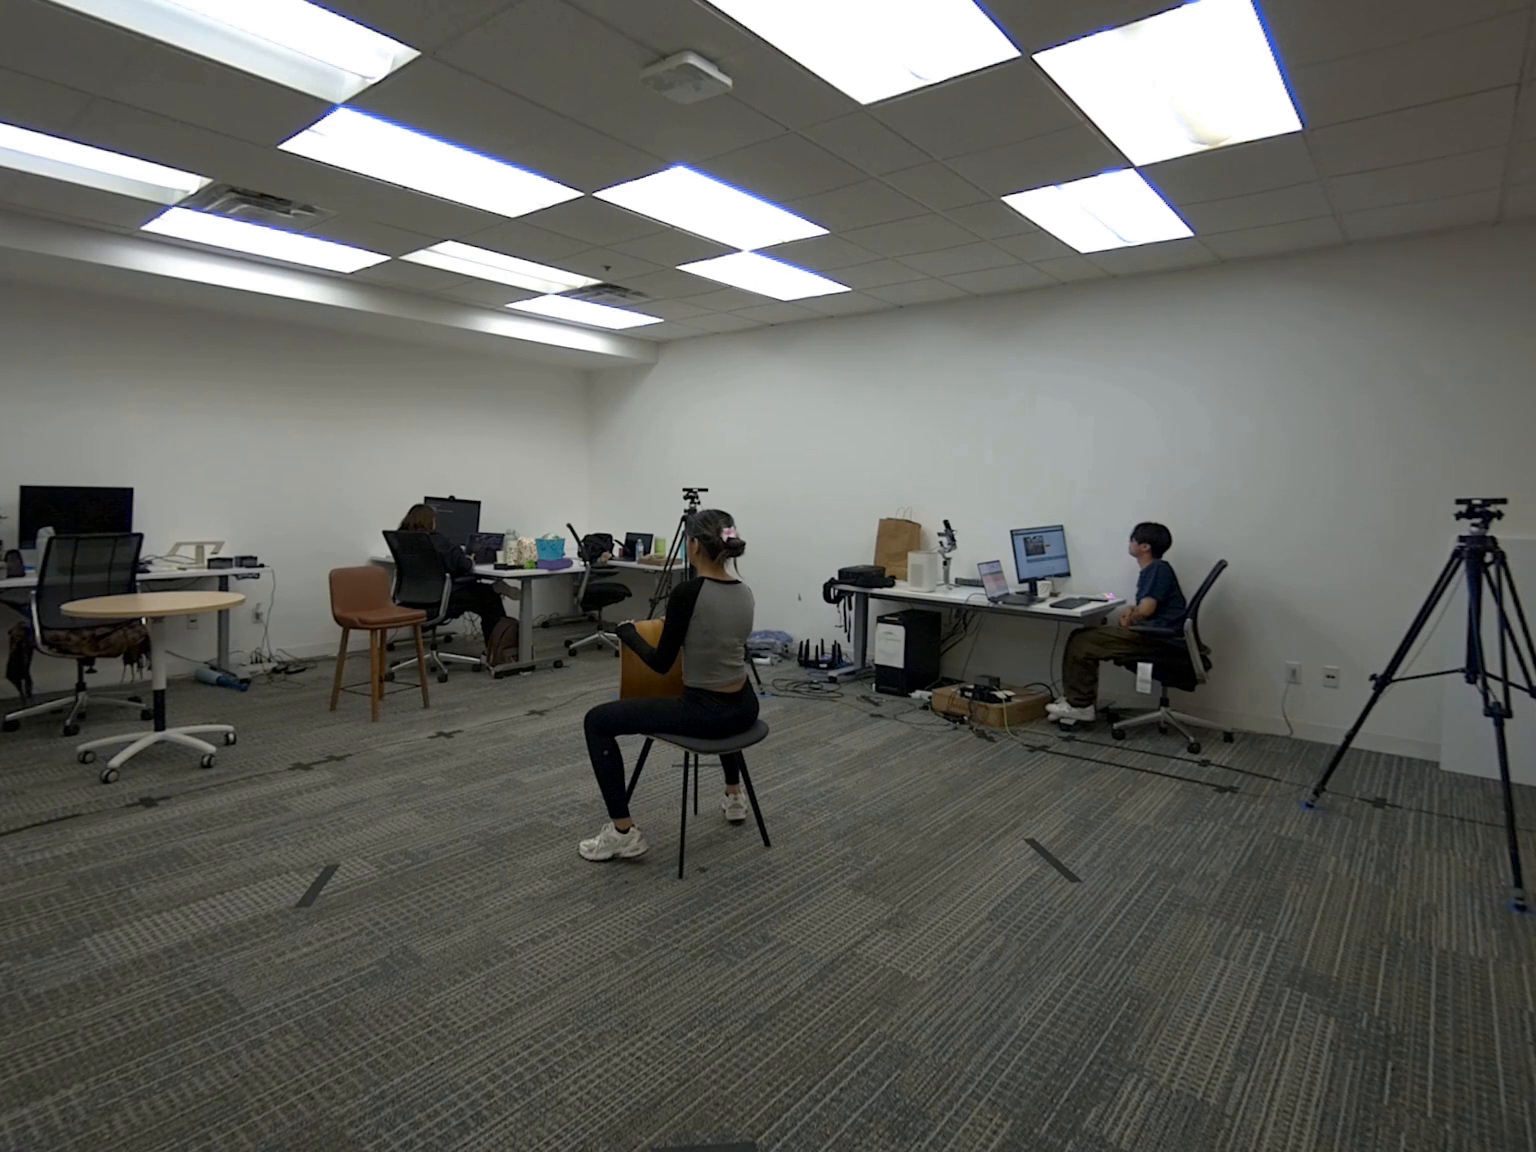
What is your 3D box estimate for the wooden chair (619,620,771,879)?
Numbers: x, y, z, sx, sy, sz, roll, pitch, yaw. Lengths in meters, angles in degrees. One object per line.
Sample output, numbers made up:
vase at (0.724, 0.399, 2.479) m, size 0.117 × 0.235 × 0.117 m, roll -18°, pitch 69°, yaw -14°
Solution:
wooden chair at (-0.303, 0.623, 3.306) m, size 0.463 × 0.878 × 0.539 m, roll -2°, pitch -1°, yaw -43°
